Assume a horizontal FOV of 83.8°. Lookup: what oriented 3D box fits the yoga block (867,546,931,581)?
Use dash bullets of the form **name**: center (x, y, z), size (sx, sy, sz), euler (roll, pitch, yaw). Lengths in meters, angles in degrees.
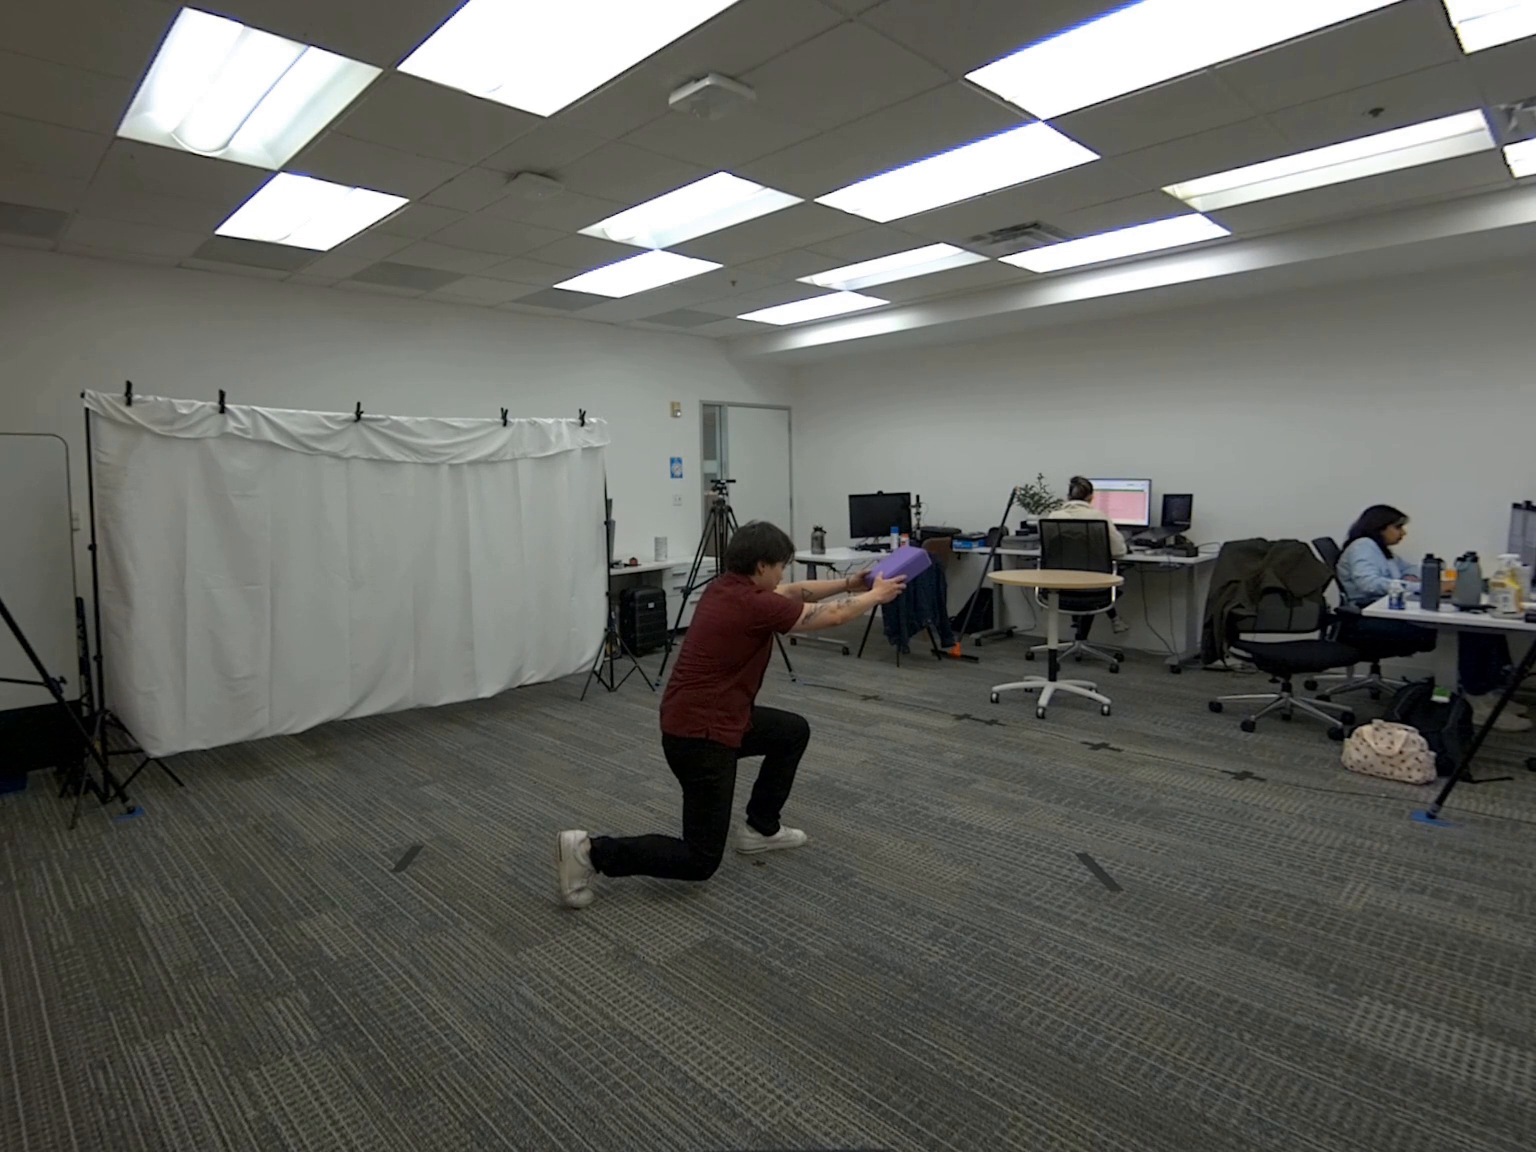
- **yoga block**: center (0.504, -0.029, 3.337), size (0.228, 0.075, 0.153), euler (-33, 19, -15)
